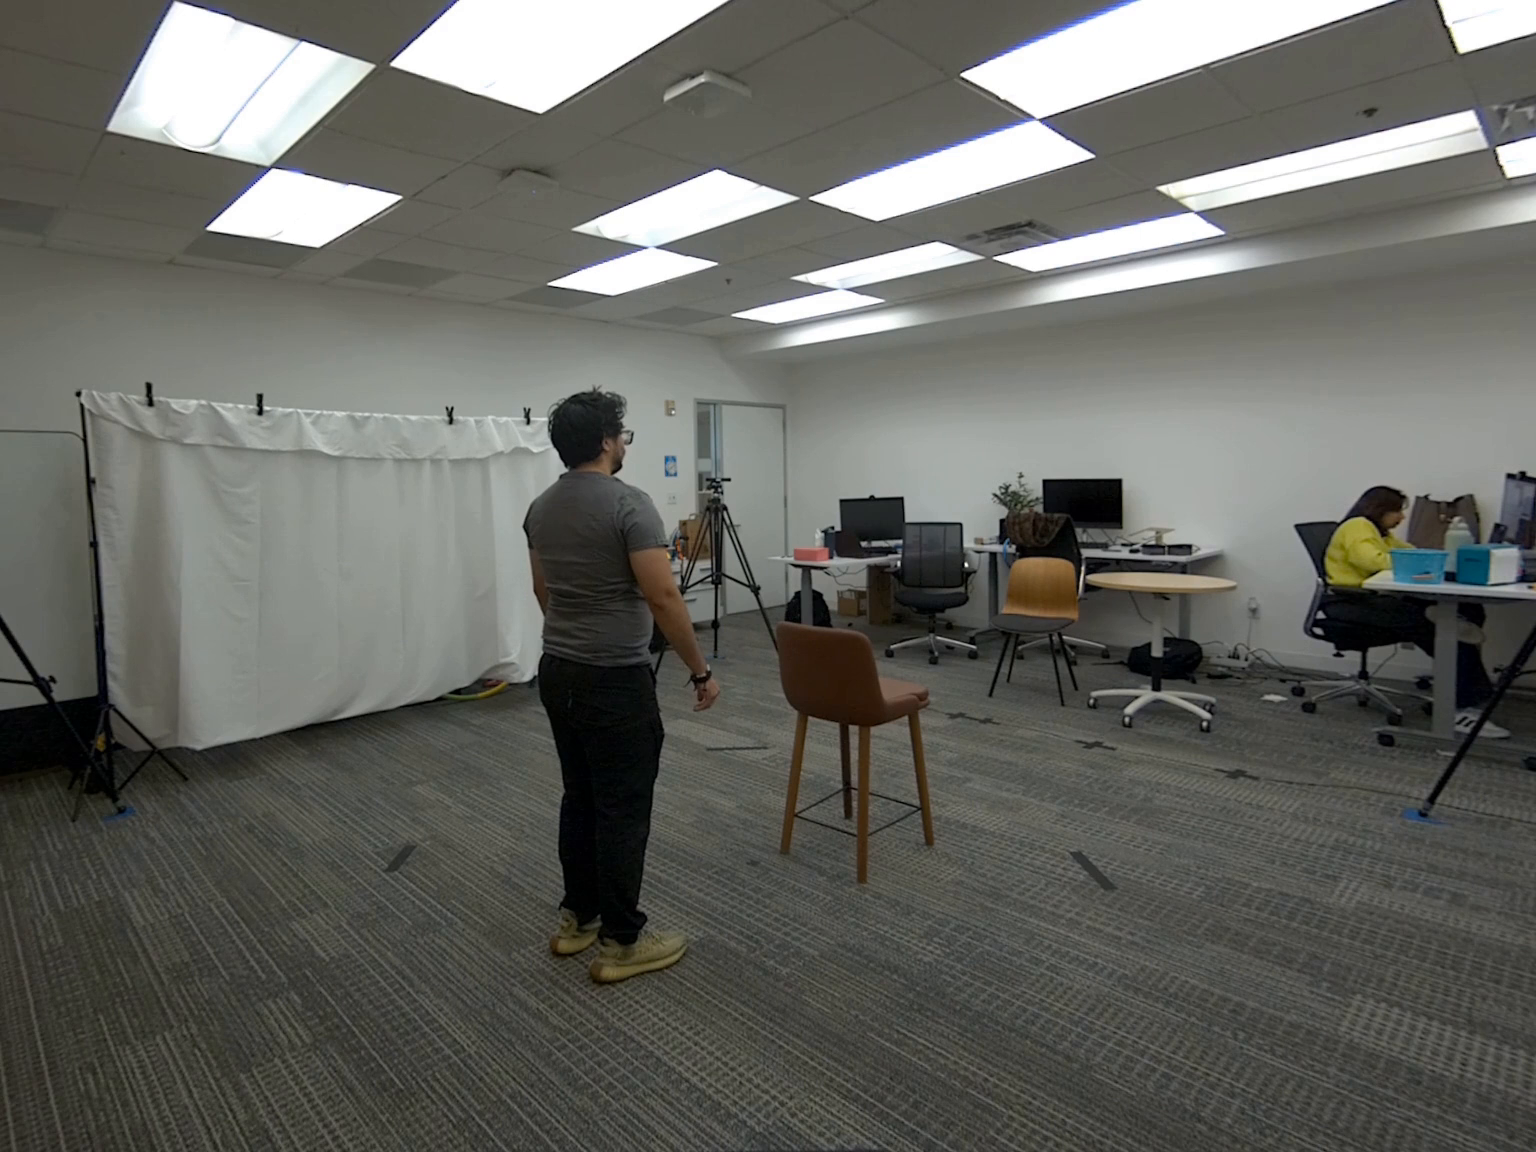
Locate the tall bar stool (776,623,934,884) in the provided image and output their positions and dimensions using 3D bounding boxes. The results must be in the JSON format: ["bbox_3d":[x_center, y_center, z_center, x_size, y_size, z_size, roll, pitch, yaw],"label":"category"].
[{"bbox_3d":[0.323,0.593,3.190,0.470,0.885,0.456,3,7,43],"label":"tall bar stool"}]
